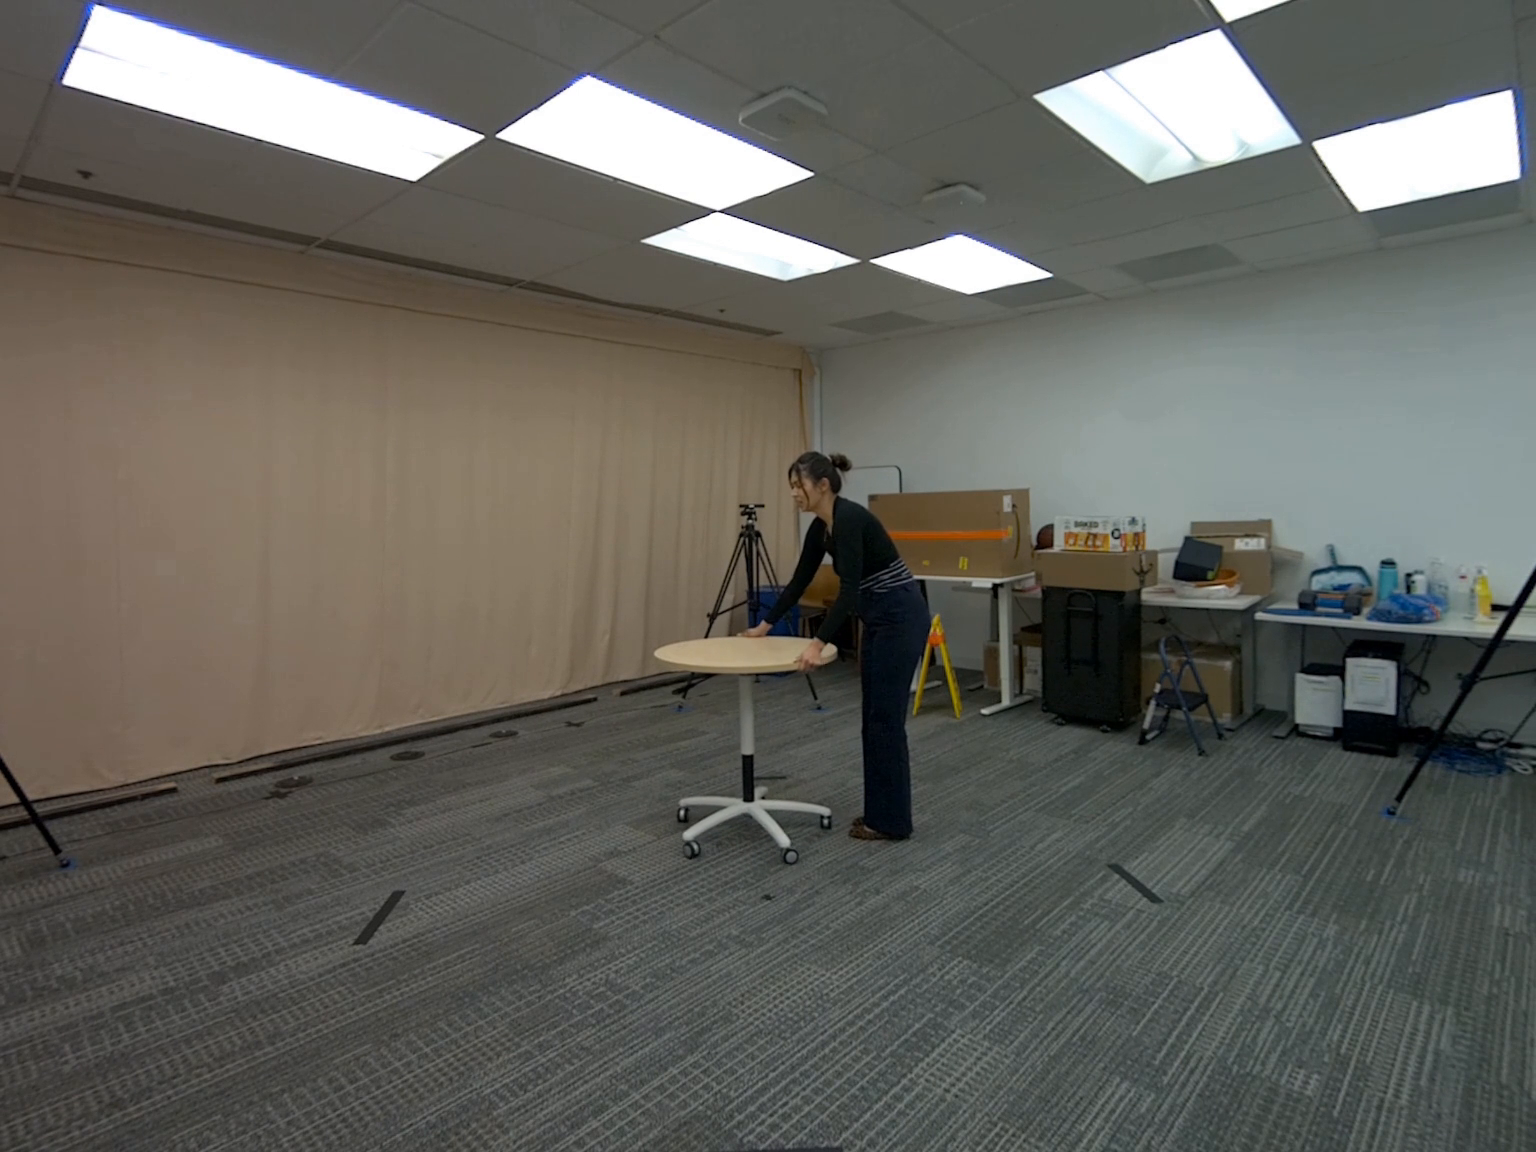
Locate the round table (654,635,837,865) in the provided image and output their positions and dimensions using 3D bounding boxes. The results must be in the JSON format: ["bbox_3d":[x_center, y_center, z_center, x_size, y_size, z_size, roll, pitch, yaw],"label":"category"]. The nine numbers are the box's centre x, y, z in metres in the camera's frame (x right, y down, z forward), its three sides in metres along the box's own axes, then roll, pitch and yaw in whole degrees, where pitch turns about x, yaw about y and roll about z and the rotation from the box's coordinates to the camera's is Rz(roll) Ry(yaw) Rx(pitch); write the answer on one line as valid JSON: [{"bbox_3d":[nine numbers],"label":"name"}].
[{"bbox_3d":[-0.078,0.704,3.550,0.763,0.792,0.766,-1,3,-2],"label":"round table"}]
